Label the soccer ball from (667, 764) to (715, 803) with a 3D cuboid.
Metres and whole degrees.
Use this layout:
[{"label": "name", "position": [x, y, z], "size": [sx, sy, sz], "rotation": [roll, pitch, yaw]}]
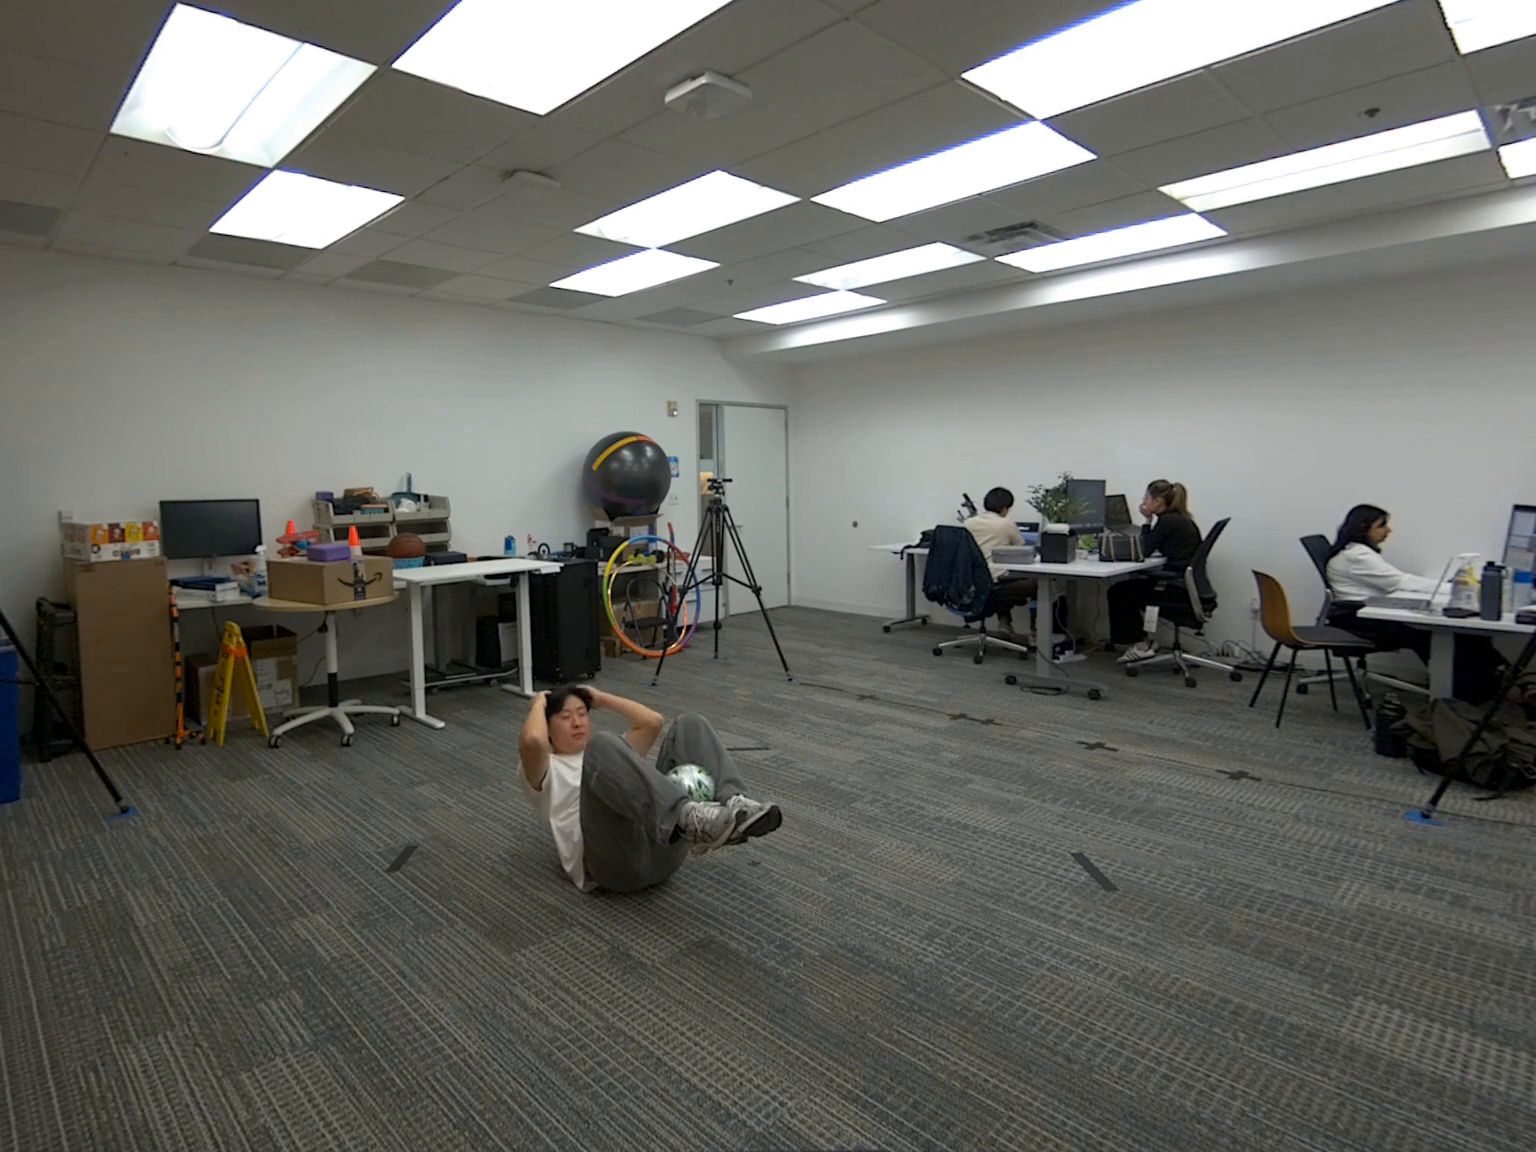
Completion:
[{"label": "soccer ball", "position": [-0.277, 0.692, 2.725], "size": [0.187, 0.187, 0.188], "rotation": [-1, 5, -2]}]
